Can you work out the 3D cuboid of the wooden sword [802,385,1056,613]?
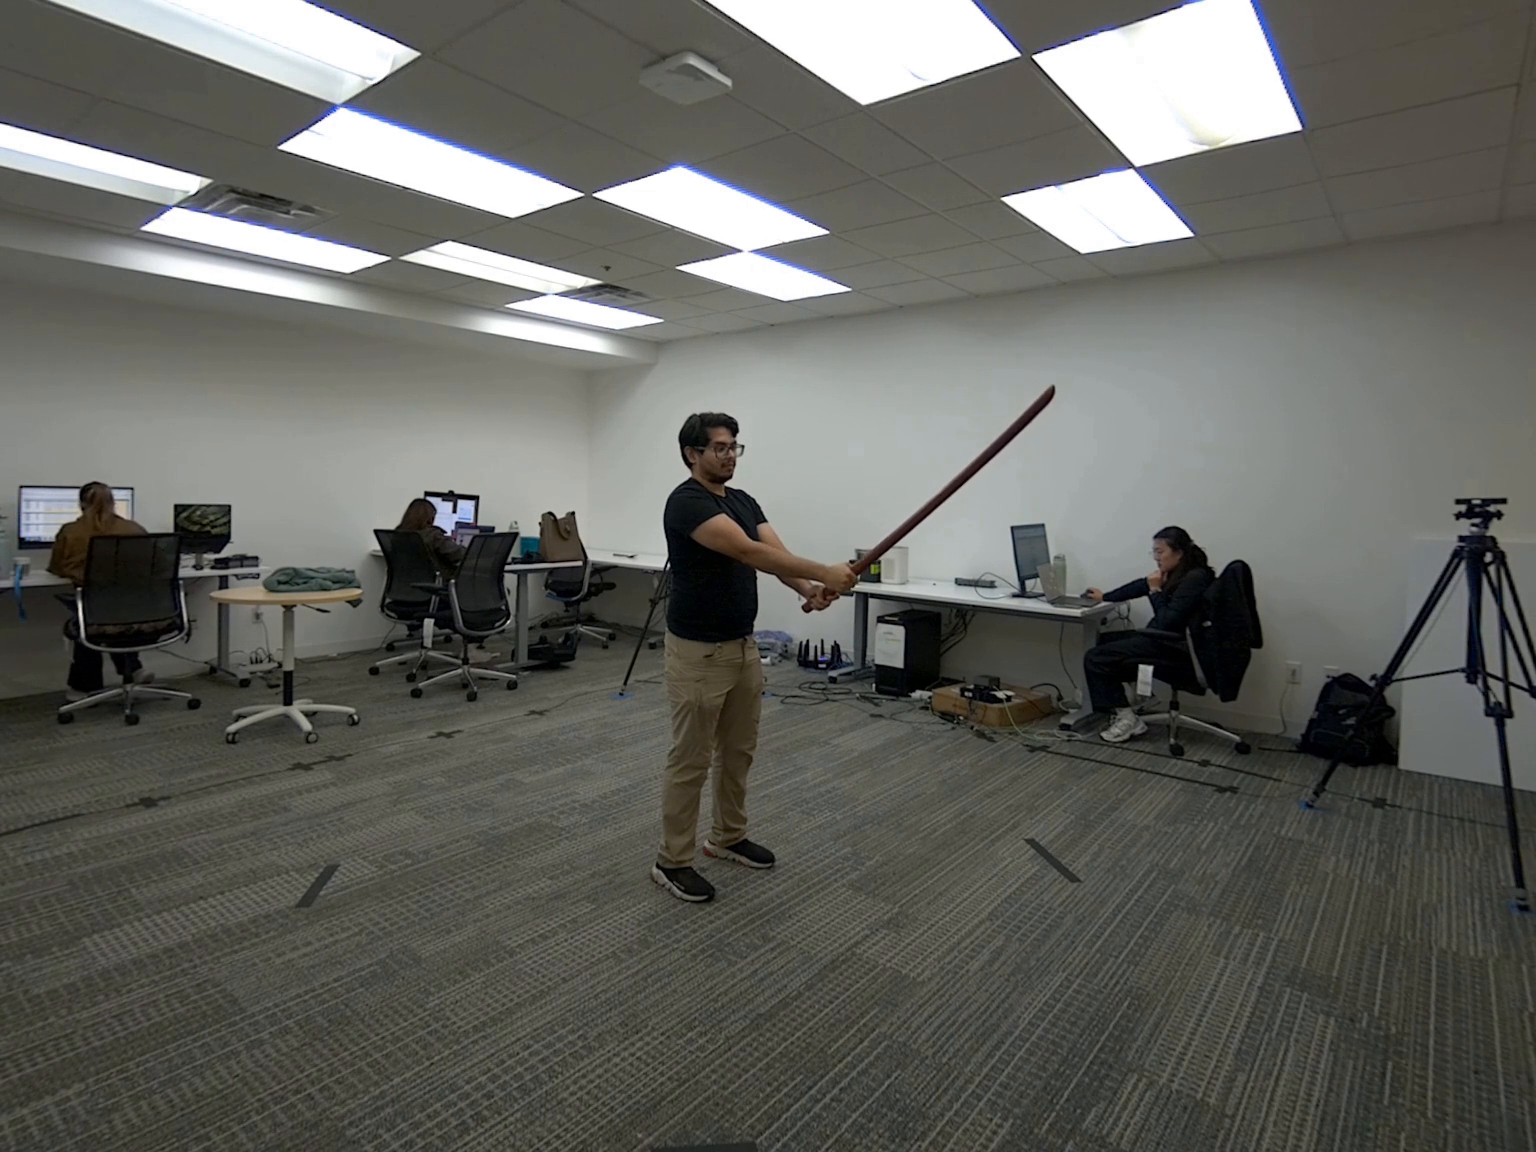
[{"bbox_3d":[0.448,-0.199,2.553,1.026,0.024,0.051,-44,8,27],"label":"wooden sword"}]
